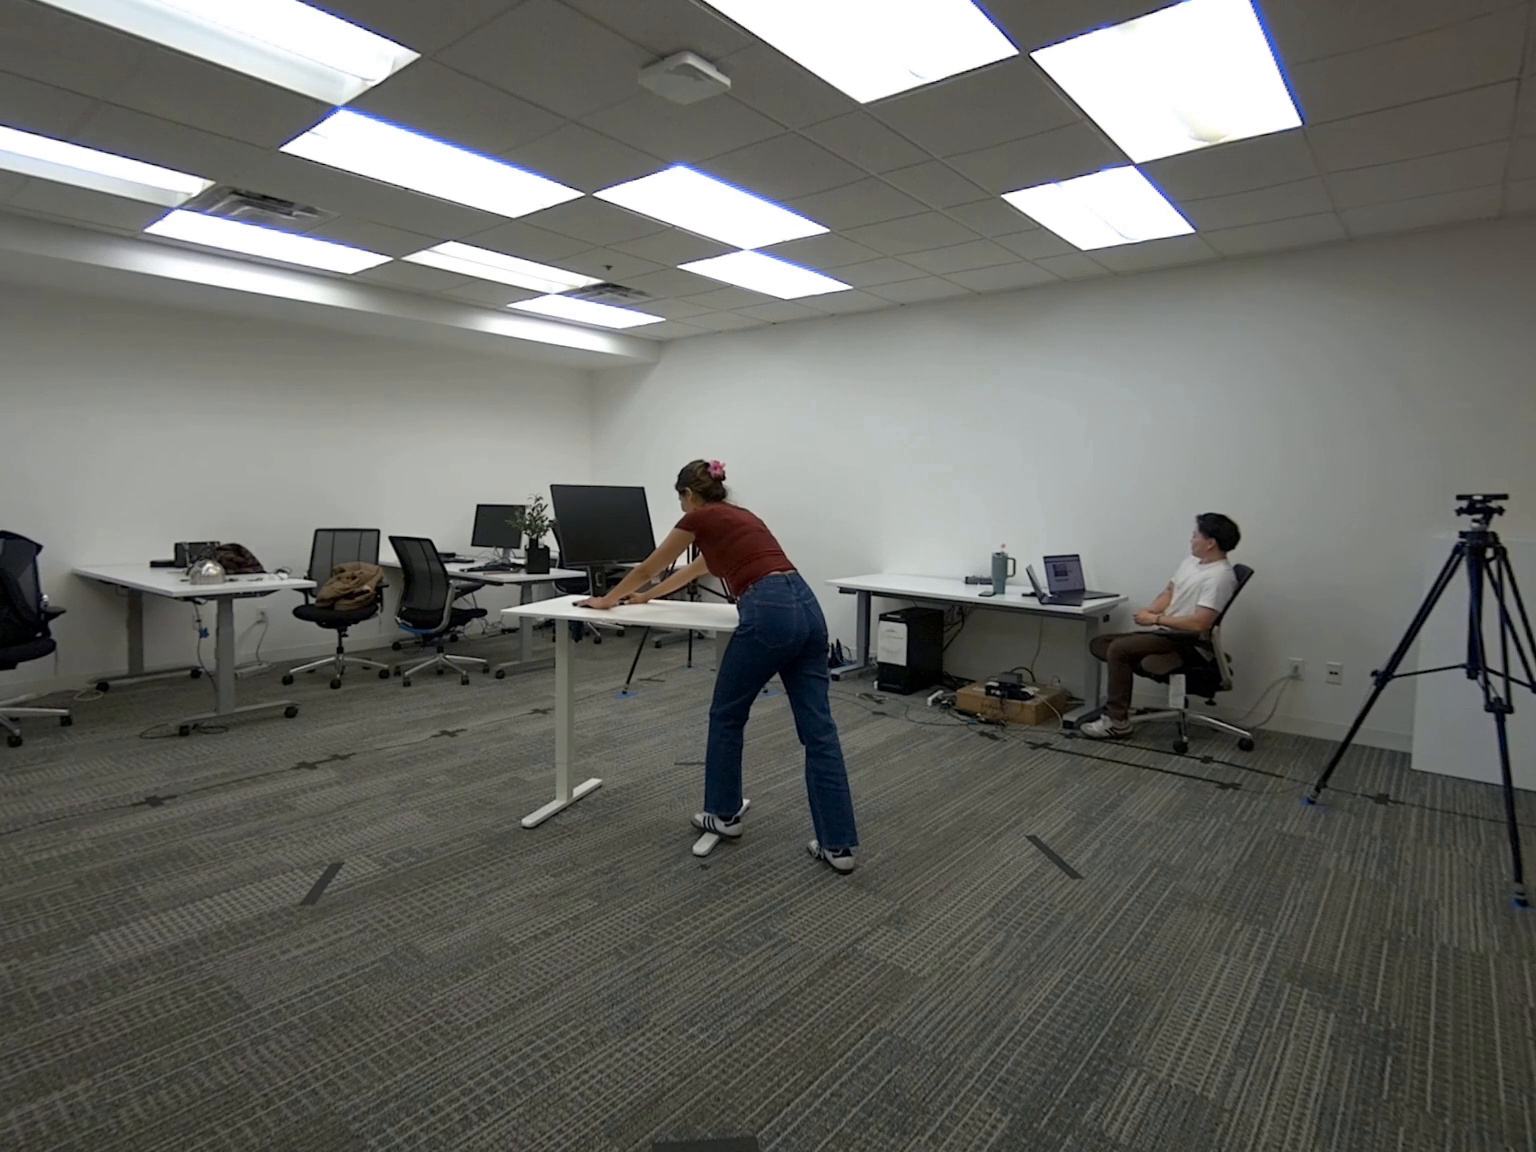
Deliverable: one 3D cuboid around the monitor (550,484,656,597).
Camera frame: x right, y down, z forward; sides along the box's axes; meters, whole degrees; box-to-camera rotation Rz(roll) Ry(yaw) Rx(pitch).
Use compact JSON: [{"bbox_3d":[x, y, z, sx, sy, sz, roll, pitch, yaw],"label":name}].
[{"bbox_3d":[-0.732,-0.136,3.695,0.193,0.522,0.524,0,2,32],"label":"monitor"}]
